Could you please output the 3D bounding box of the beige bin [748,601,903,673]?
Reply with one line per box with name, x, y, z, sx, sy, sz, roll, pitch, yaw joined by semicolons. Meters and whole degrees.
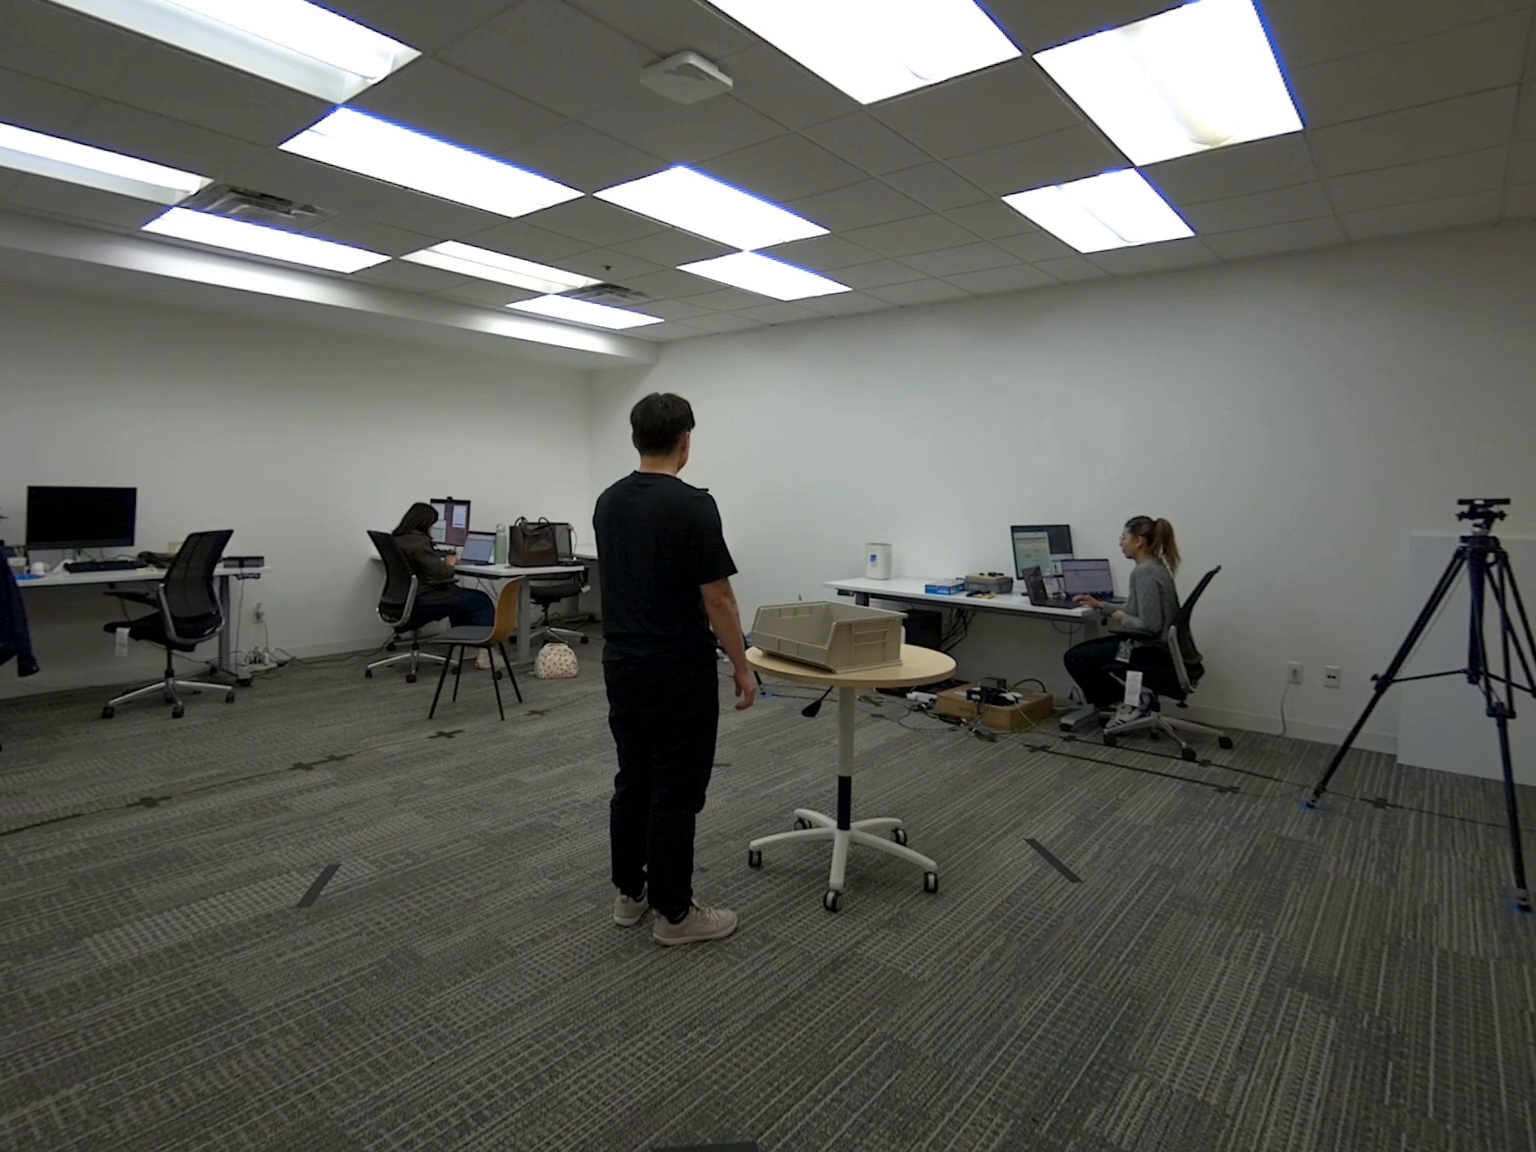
beige bin;0.208;0.212;3.065;0.366;0.188;0.436;-2;5;-37
